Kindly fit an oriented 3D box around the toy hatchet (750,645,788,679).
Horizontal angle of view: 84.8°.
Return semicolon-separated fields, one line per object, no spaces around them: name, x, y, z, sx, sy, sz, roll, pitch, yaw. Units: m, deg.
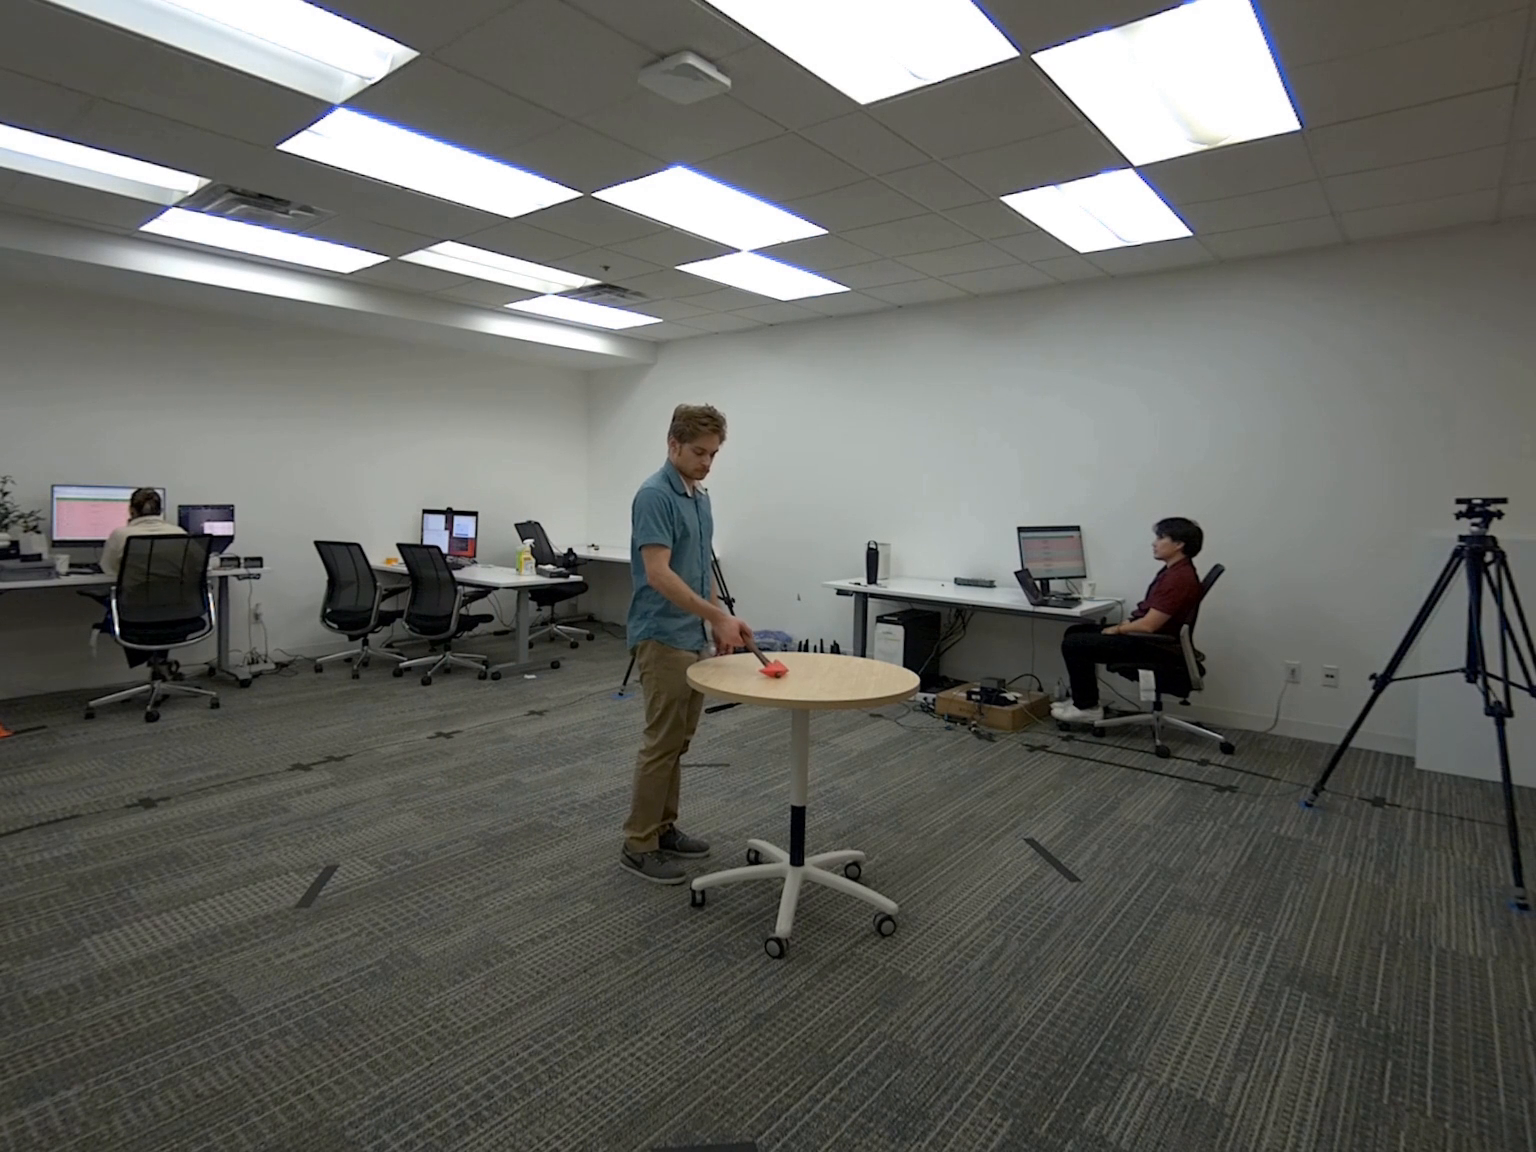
toy hatchet;-0.024;0.249;2.840;0.127;0.029;0.280;14;24;-27
